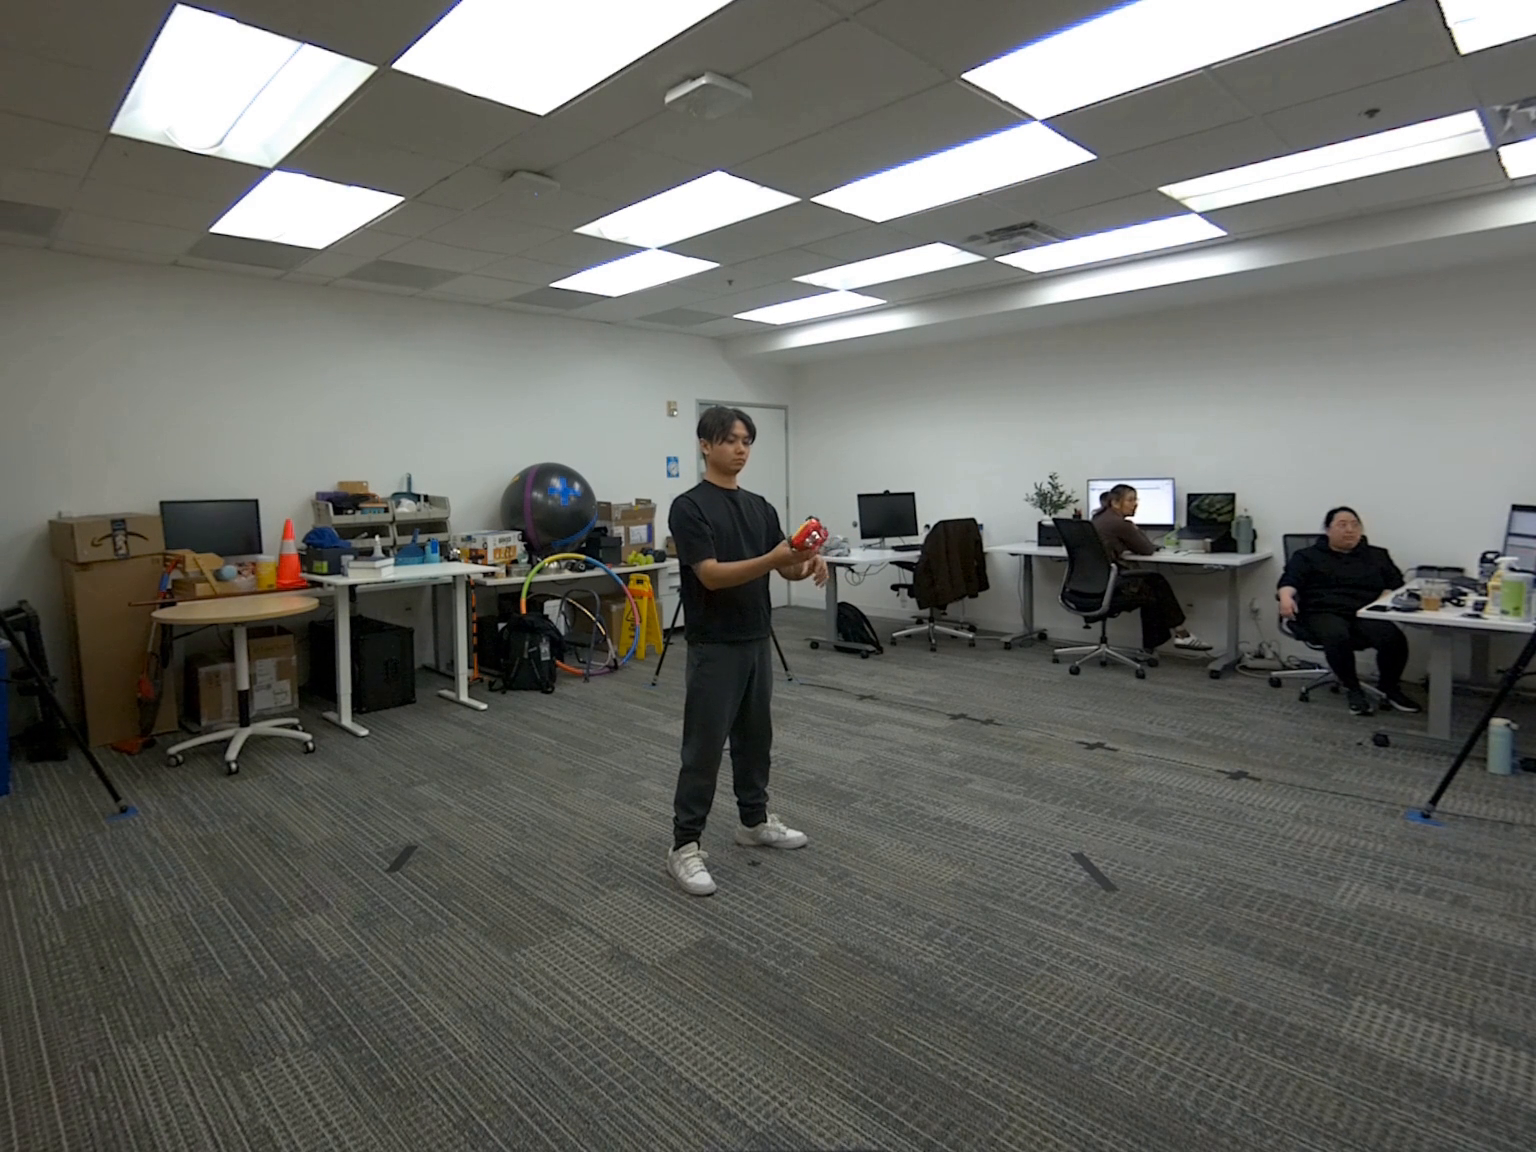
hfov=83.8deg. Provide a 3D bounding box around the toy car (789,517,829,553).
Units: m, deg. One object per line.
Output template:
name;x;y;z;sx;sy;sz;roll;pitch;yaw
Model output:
toy car;0.128;-0.122;2.750;0.130;0.084;0.251;-45;-7;3
